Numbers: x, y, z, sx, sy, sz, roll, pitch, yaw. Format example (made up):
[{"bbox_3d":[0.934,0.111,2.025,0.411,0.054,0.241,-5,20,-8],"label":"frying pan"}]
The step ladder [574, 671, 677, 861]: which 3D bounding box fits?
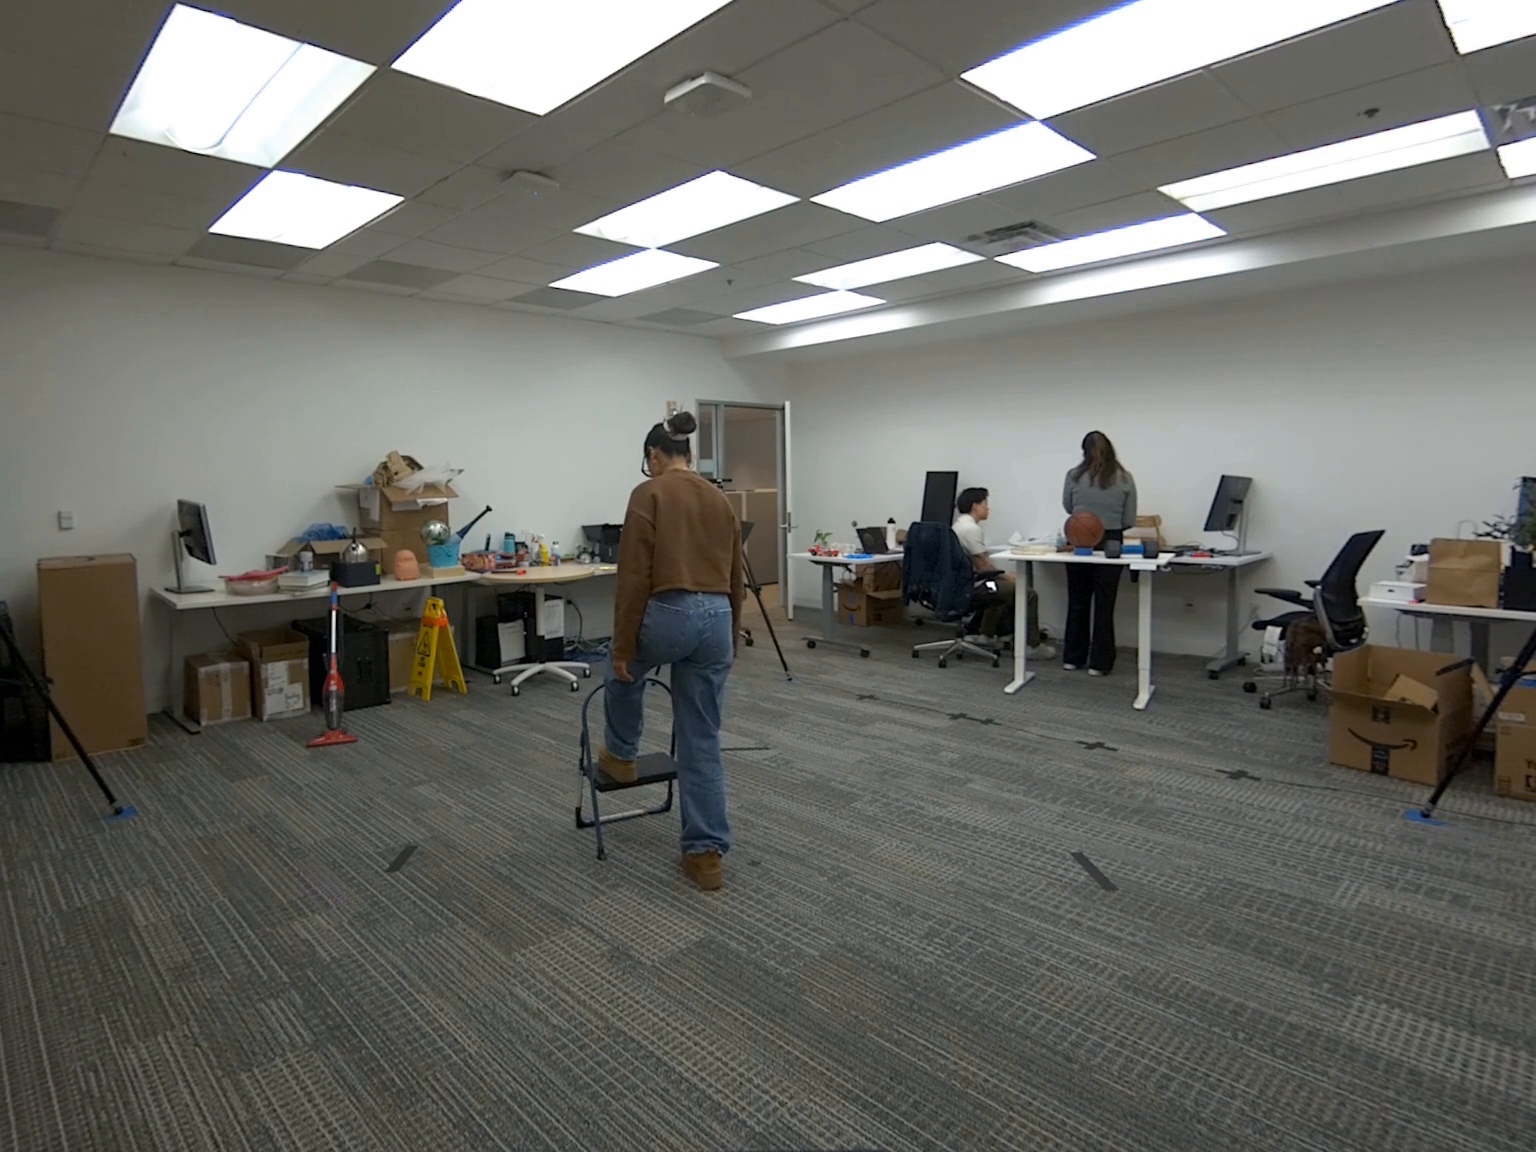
[{"bbox_3d":[-0.524,0.718,3.386,0.421,0.604,0.358,-4,4,-28],"label":"step ladder"}]
